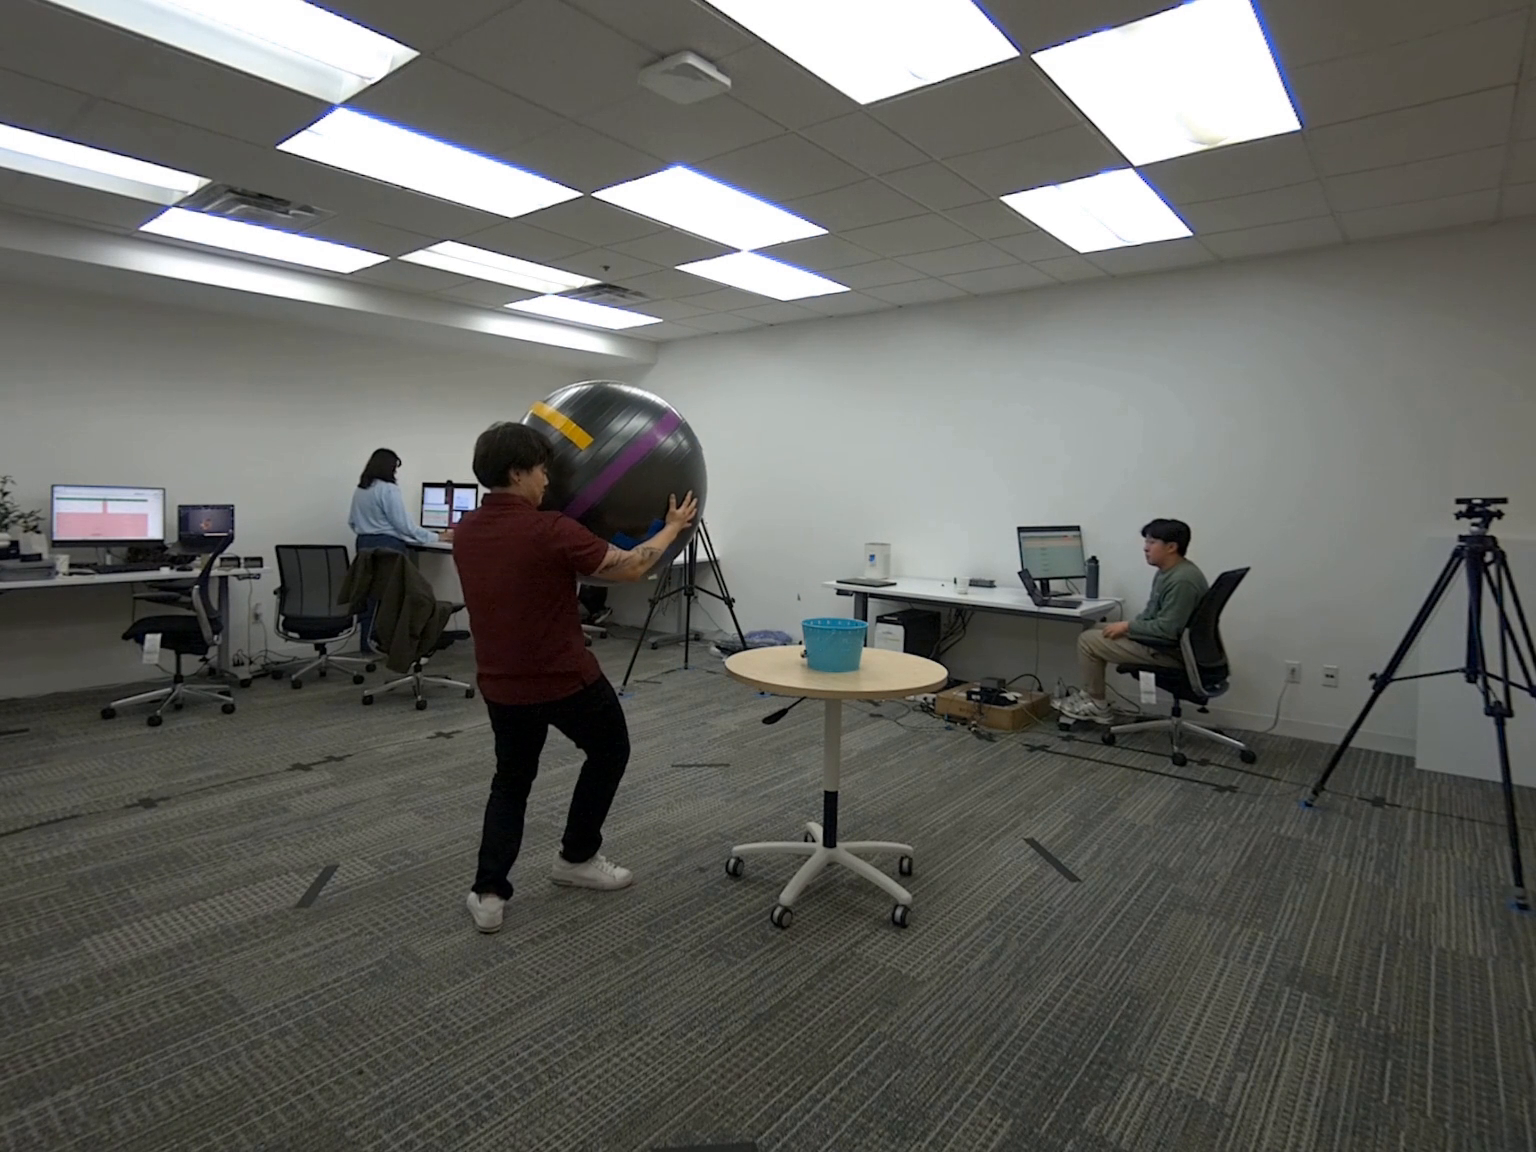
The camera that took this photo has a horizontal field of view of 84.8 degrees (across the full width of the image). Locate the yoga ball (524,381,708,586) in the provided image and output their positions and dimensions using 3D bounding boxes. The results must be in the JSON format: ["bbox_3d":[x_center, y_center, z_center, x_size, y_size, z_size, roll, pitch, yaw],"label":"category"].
[{"bbox_3d":[-0.611,-0.352,3.153,0.757,0.756,0.761,1,4,-2],"label":"yoga ball"}]
